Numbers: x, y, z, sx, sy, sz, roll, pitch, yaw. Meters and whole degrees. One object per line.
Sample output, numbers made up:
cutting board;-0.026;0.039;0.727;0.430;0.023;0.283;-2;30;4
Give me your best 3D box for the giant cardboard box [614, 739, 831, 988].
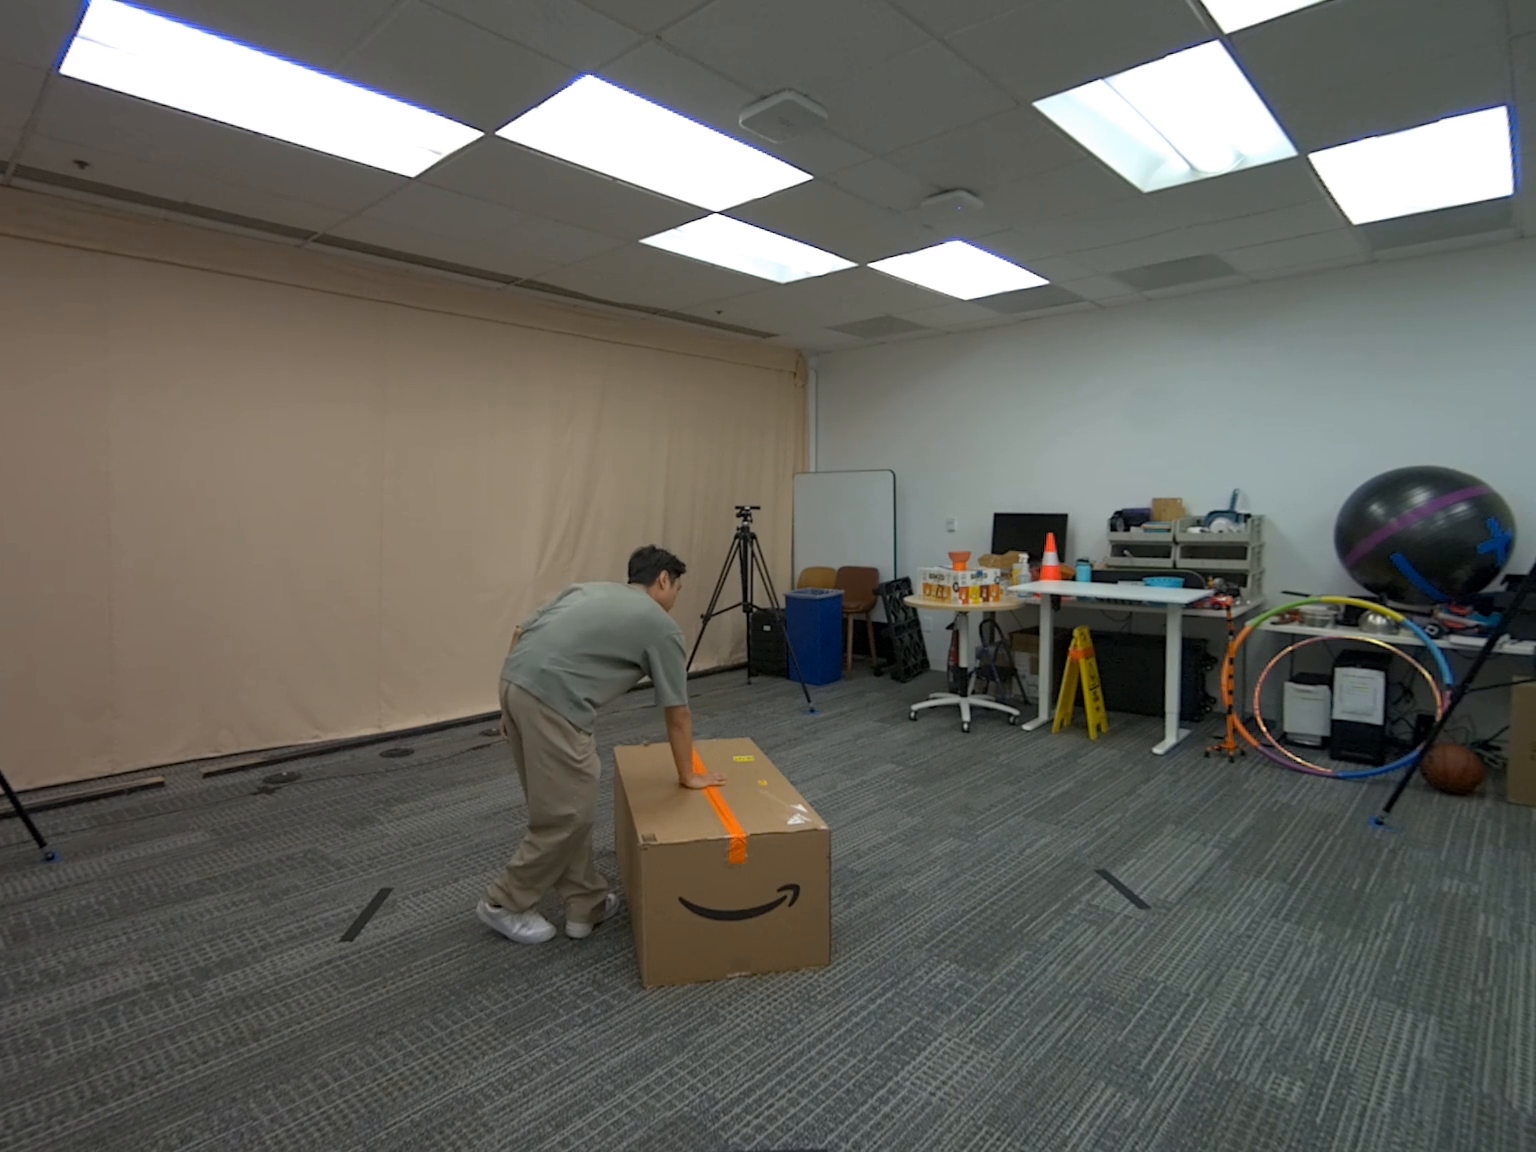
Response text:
giant cardboard box;-0.214;0.932;2.973;0.569;0.425;1.042;-1;4;-14
